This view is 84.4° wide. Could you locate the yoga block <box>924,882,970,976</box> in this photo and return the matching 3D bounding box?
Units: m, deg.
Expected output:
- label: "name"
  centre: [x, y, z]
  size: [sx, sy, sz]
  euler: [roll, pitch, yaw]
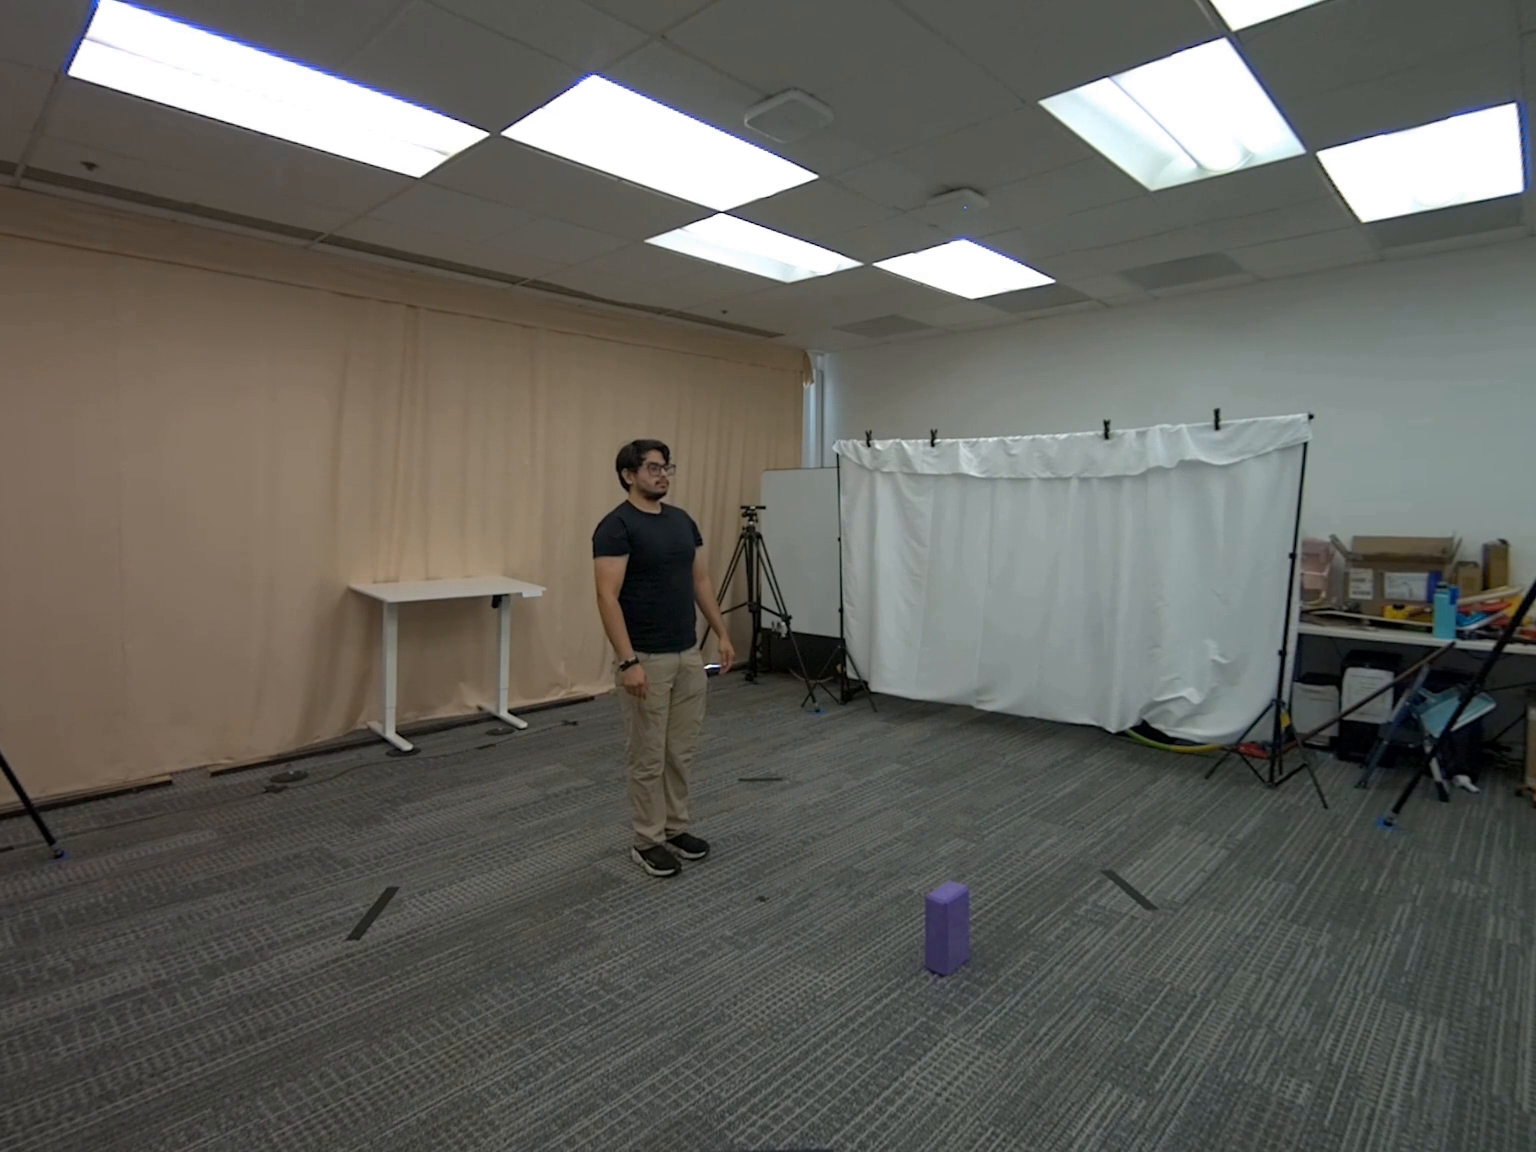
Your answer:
- label: "yoga block"
  centre: [0.551, 1.064, 2.544]
  size: [0.079, 0.229, 0.144]
  euler: [2, 4, 42]
